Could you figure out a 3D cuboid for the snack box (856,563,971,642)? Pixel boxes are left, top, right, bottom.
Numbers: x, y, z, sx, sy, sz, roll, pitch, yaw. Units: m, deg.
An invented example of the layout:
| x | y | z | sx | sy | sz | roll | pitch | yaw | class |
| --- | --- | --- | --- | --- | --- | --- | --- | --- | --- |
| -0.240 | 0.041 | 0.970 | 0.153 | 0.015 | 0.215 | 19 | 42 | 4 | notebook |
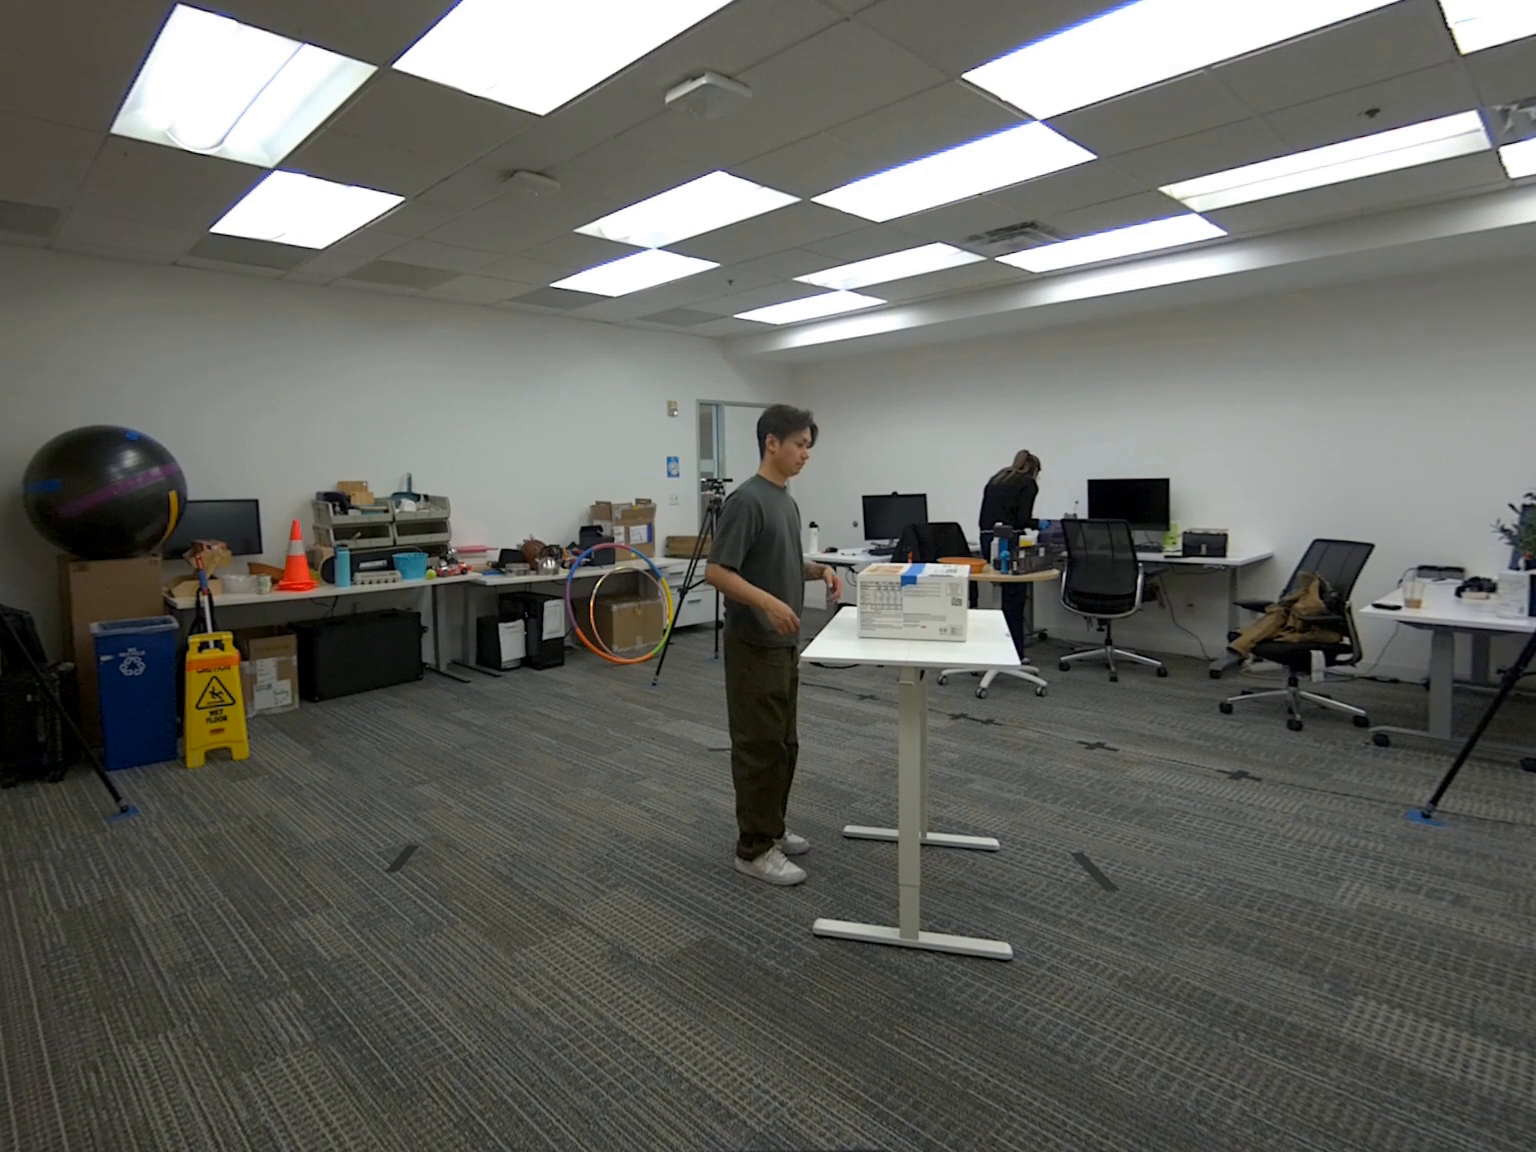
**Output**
| x | y | z | sx | sy | sz | roll | pitch | yaw | class |
| --- | --- | --- | --- | --- | --- | --- | --- | --- | --- |
| 0.500 | 0.080 | 2.859 | 0.346 | 0.205 | 0.400 | 0 | 6 | 16 | snack box |
